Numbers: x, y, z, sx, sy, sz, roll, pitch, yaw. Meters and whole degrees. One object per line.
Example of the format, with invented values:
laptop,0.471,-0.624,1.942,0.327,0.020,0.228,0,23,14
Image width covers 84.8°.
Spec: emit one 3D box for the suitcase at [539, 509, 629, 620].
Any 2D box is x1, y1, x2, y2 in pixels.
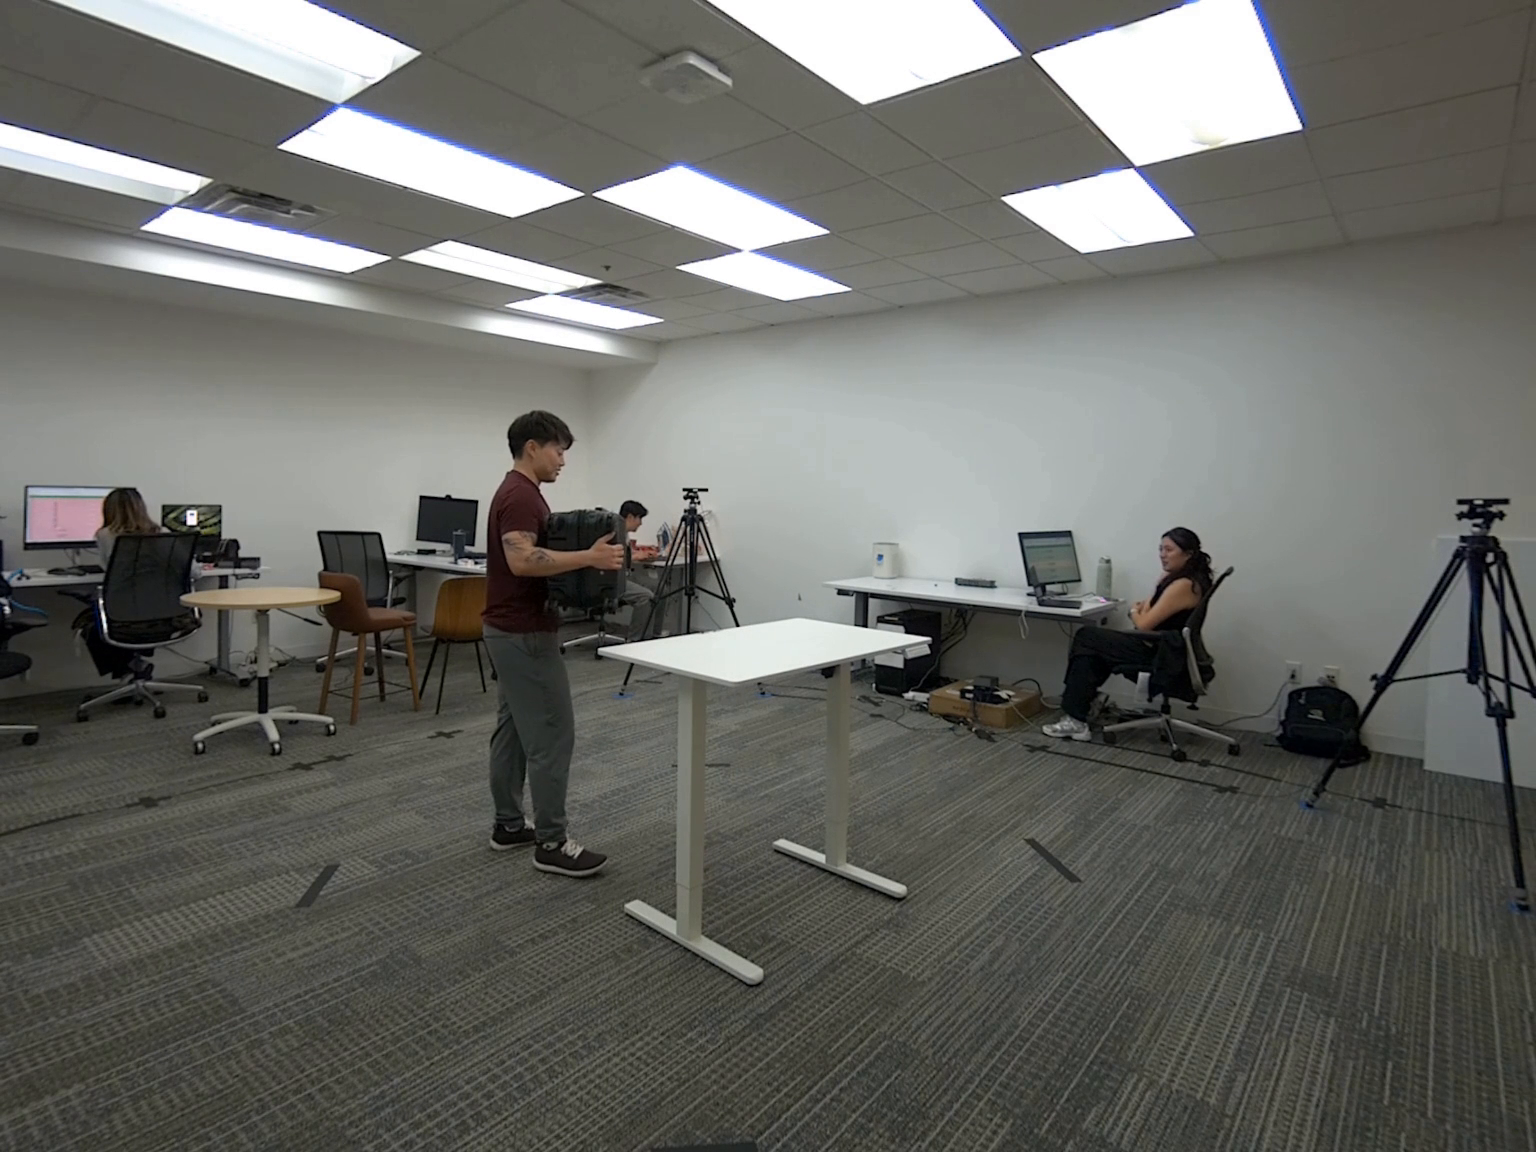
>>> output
suitcase,-0.697,-0.078,3.409,0.256,0.383,0.985,-3,3,-6
